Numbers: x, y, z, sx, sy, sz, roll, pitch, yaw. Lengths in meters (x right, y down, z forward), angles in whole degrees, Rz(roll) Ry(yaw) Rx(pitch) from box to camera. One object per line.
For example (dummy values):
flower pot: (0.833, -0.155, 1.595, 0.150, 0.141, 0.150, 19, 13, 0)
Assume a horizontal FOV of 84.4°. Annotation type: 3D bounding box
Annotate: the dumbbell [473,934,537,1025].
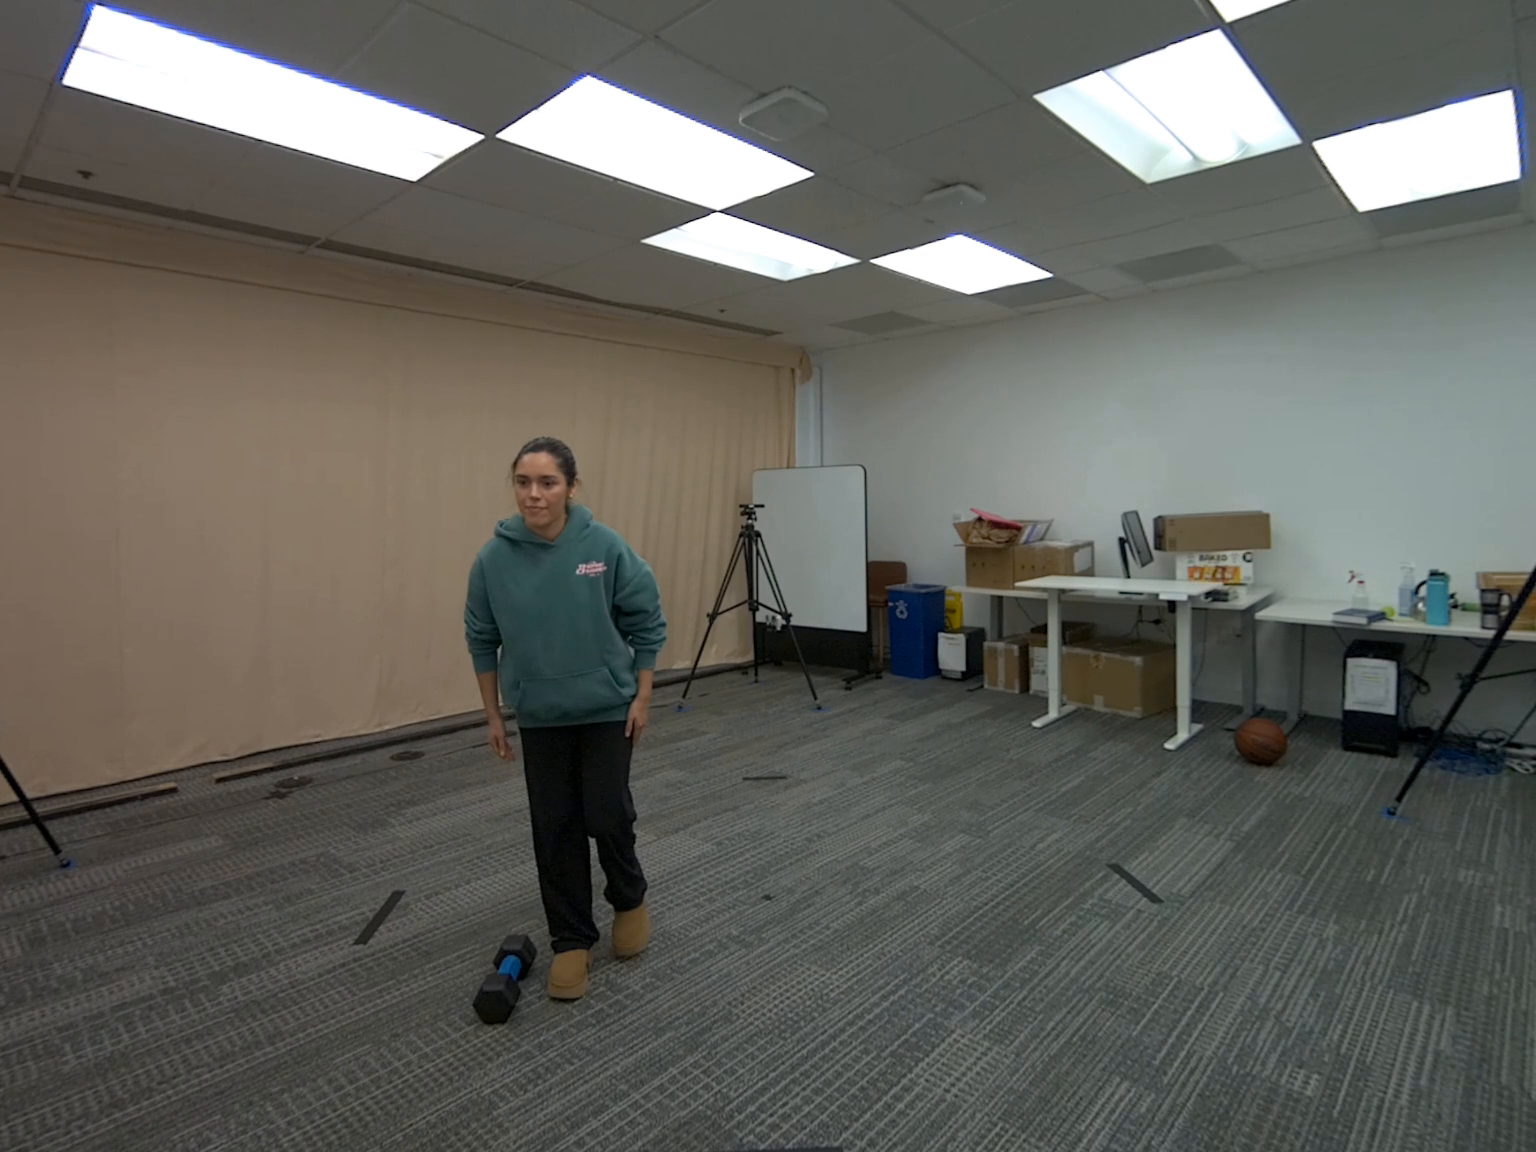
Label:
dumbbell: (-0.752, 1.153, 2.409, 0.109, 0.122, 0.294, -30, 5, 0)
